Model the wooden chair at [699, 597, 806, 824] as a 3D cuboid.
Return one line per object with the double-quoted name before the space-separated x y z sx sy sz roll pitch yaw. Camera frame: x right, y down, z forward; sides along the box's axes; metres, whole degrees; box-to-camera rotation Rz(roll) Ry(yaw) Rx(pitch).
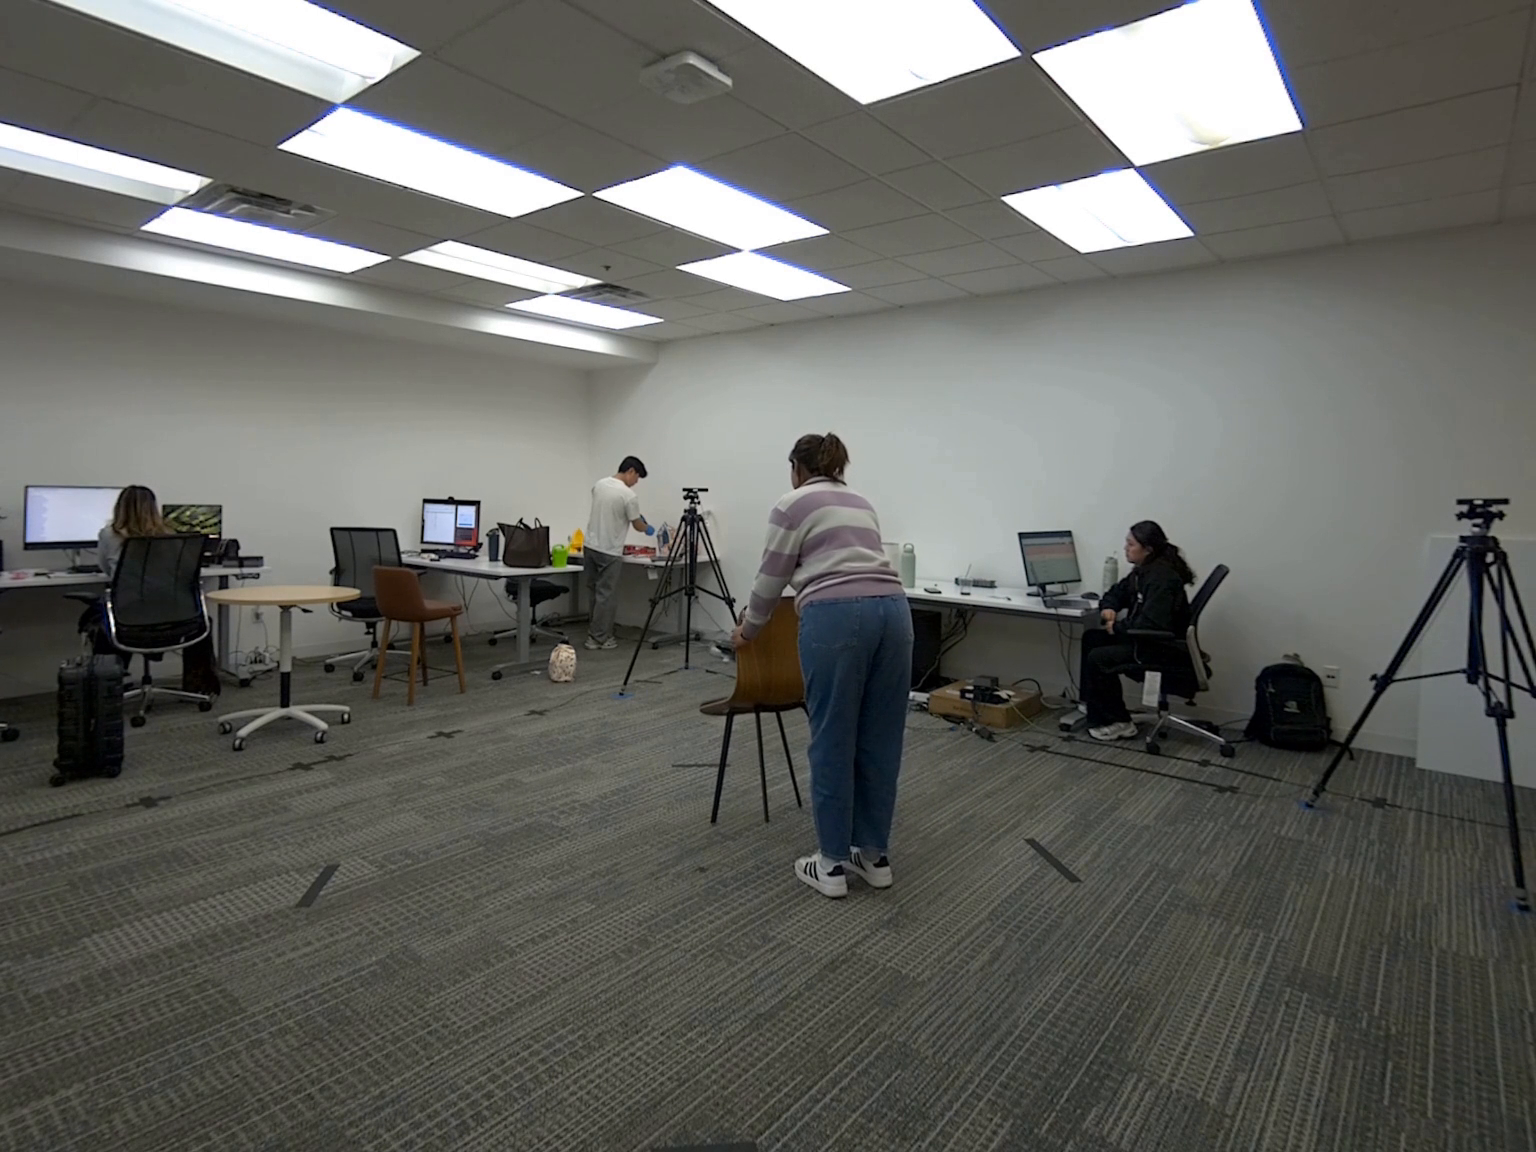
"wooden chair" -0.015 0.555 3.558 0.465 0.887 0.531 -1 -11 -30
